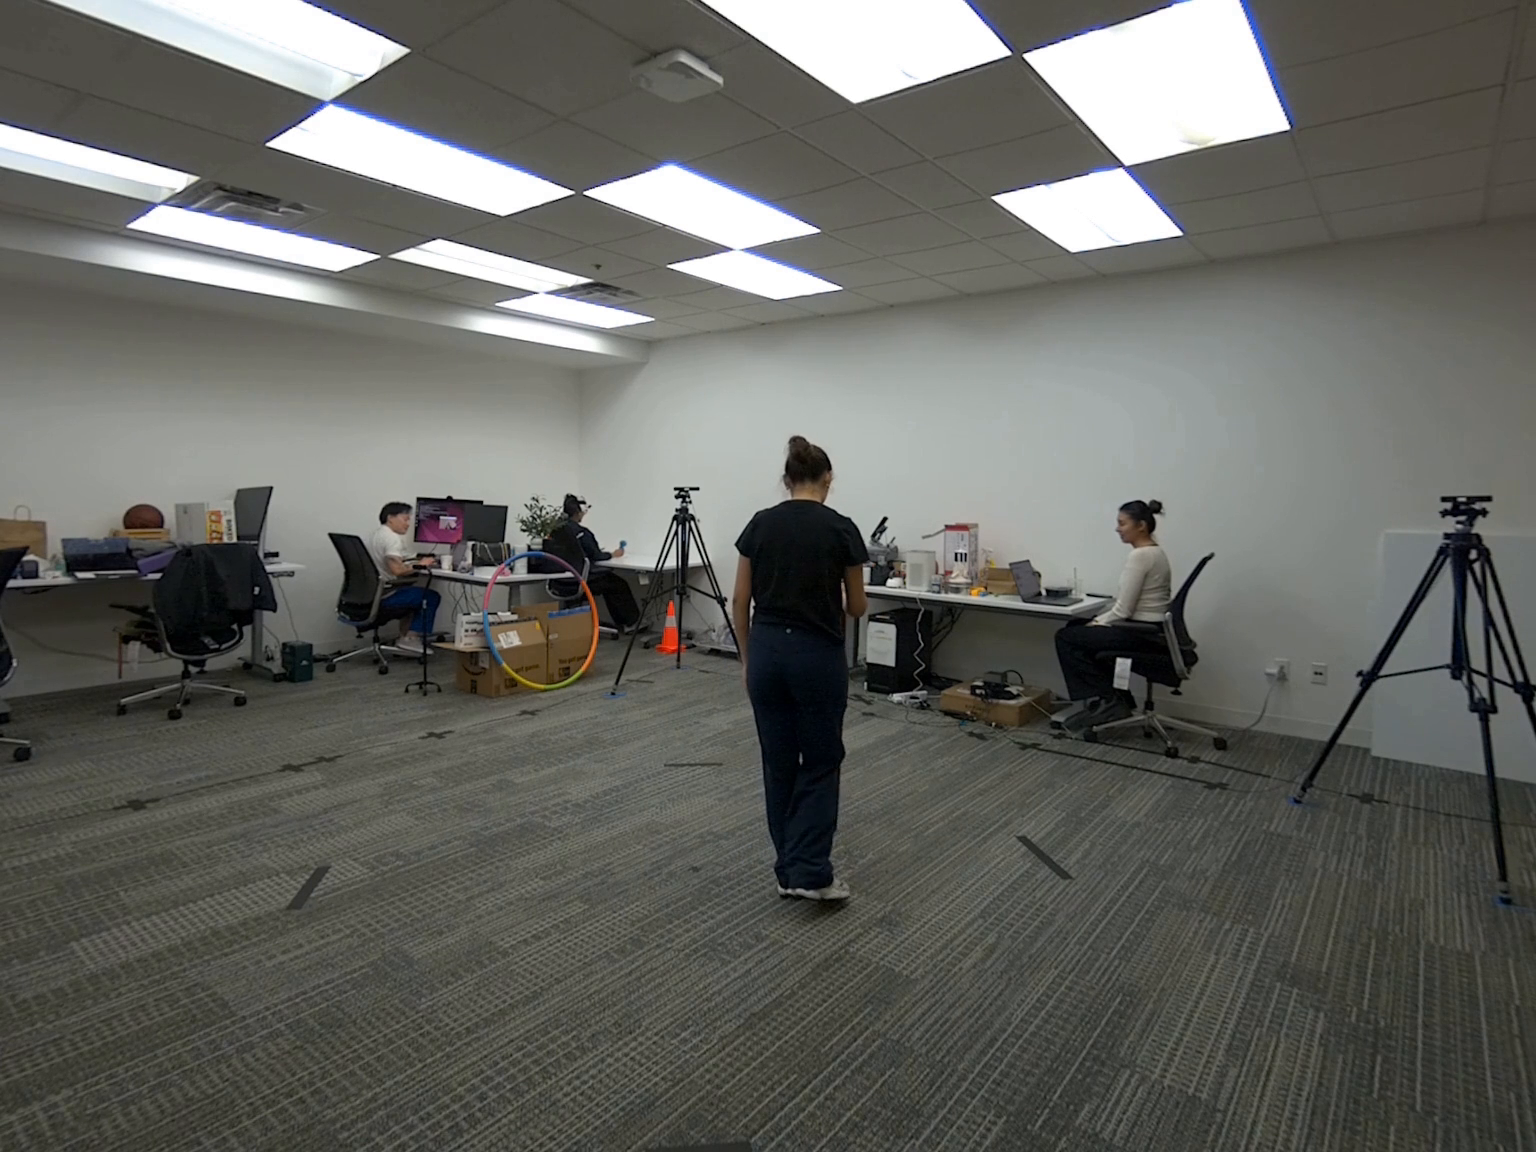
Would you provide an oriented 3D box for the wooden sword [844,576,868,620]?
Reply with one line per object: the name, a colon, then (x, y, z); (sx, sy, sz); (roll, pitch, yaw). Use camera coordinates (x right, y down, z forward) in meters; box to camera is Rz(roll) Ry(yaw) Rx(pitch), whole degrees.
wooden sword: (0.297, 0.535, 3.268); (0.023, 1.014, 0.053); (-7, 14, -39)
